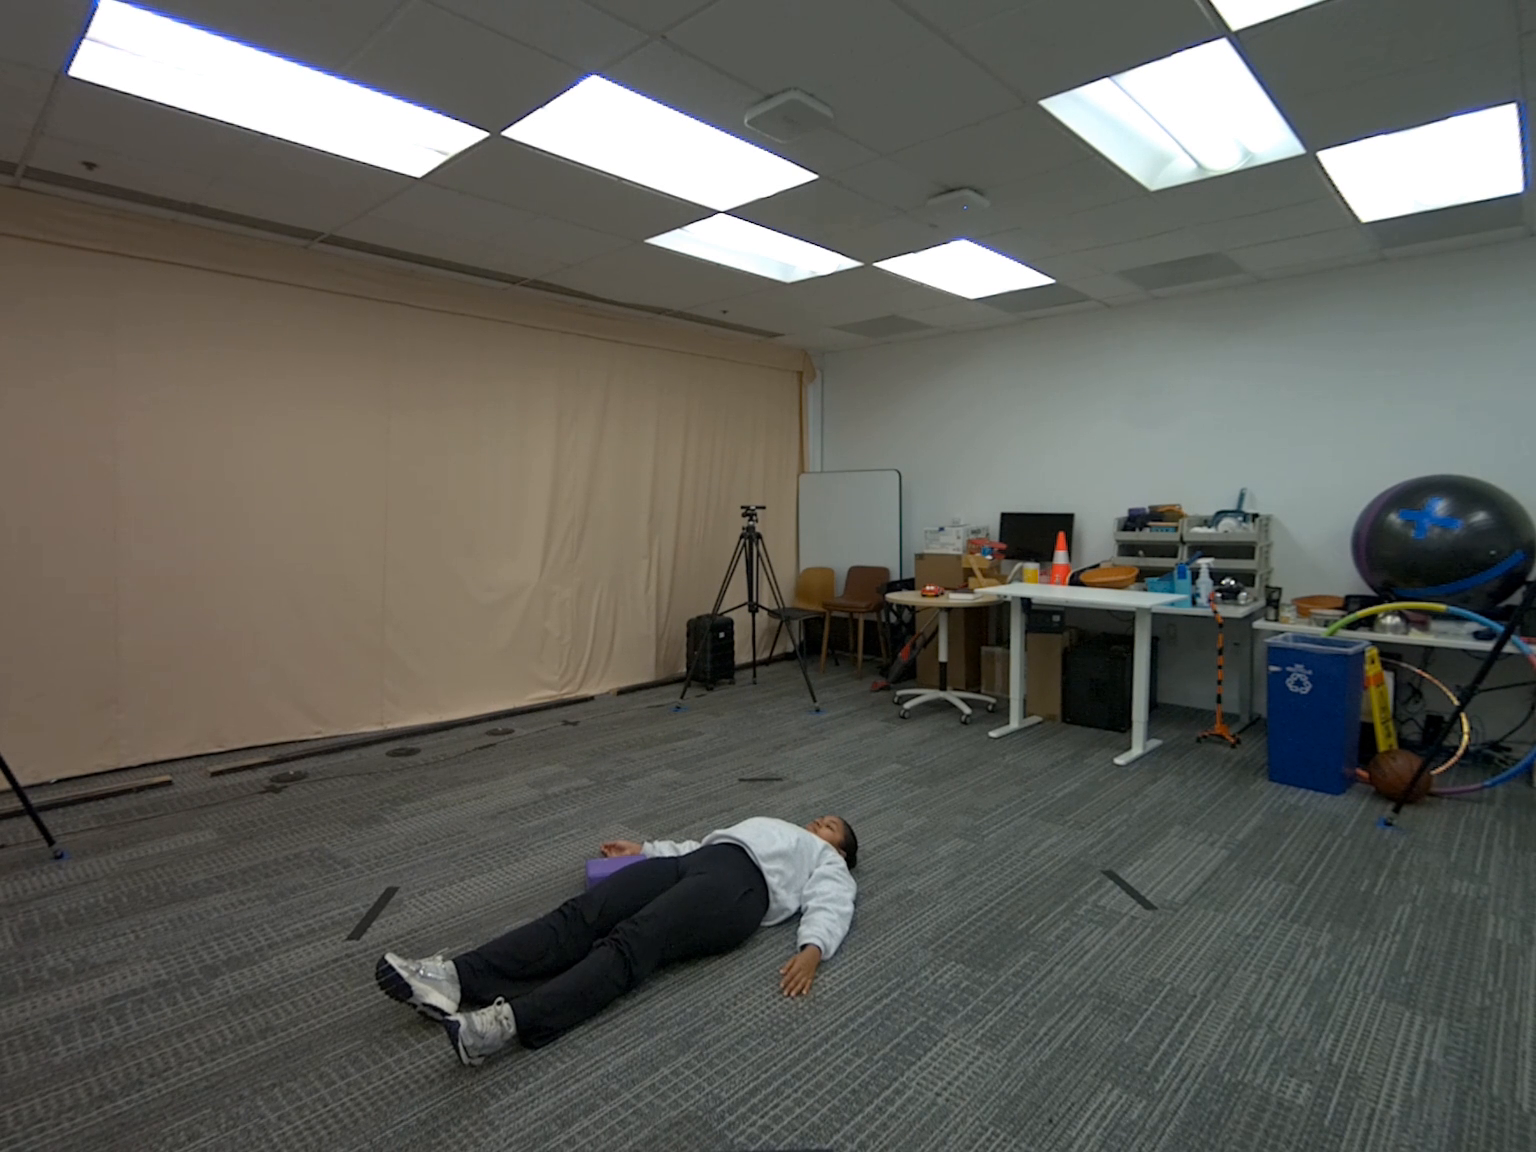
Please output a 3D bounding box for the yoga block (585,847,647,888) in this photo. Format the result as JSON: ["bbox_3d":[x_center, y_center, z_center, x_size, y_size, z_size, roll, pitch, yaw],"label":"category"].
[{"bbox_3d":[-0.554,1.101,3.101,0.226,0.076,0.151,-1,5,-13],"label":"yoga block"}]
